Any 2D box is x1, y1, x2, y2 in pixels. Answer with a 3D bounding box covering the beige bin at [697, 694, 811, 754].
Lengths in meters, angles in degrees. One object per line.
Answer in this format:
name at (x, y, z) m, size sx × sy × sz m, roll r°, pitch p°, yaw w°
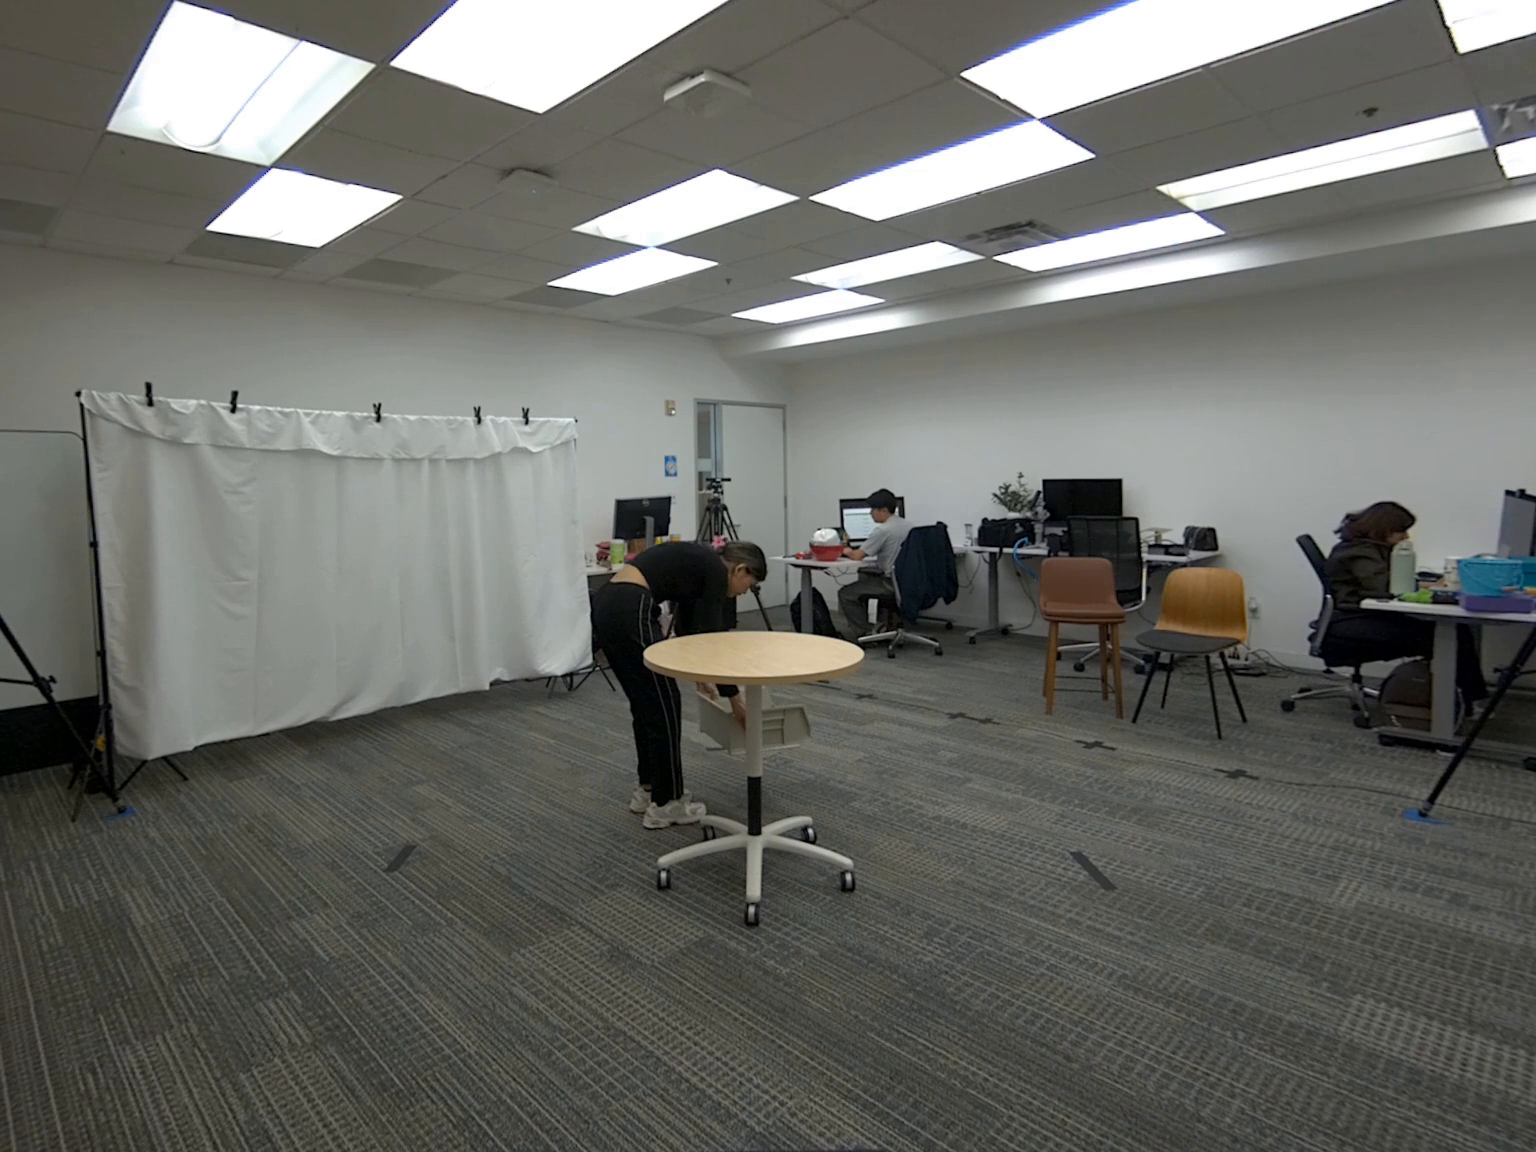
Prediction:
beige bin at (-0.072, 0.618, 3.732) m, size 0.371 × 0.188 × 0.432 m, roll -4°, pitch 6°, yaw -21°
